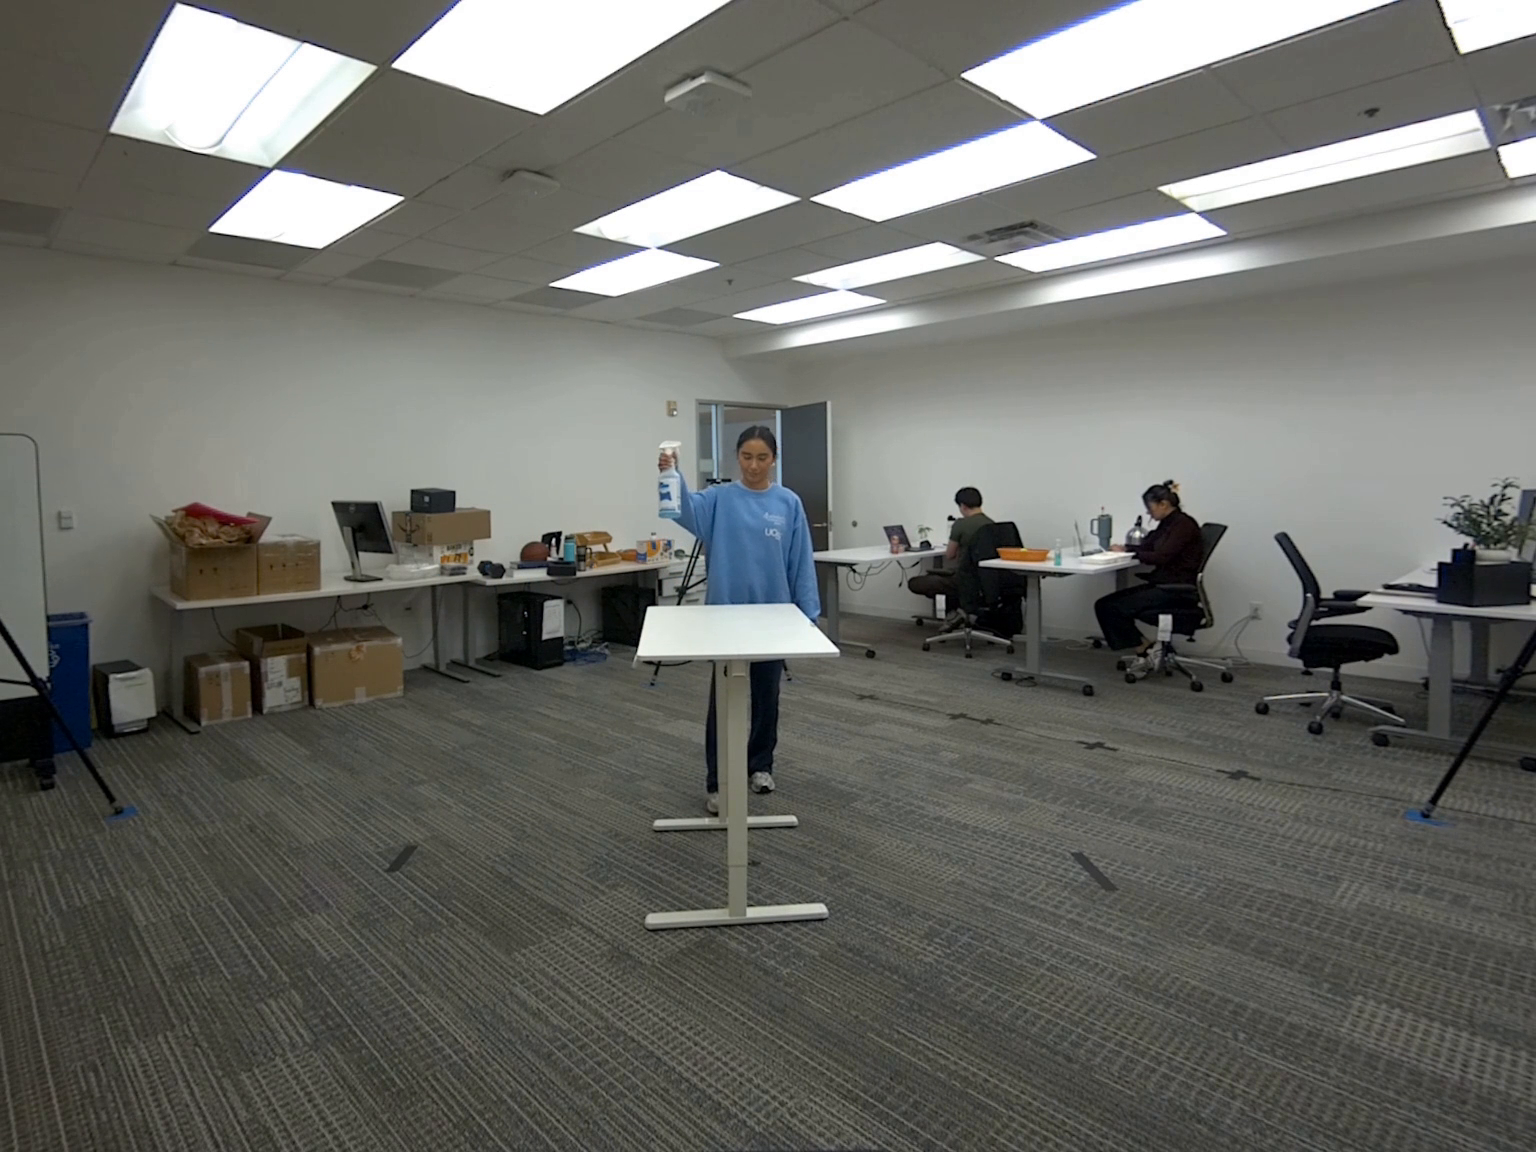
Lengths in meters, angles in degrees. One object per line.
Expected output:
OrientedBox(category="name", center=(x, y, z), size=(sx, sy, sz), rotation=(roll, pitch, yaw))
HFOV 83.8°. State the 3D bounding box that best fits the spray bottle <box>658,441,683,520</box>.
OrientedBox(category="spray bottle", center=(-0.385, -0.370, 3.281), size=(0.090, 0.298, 0.087), rotation=(1, -4, -3))
